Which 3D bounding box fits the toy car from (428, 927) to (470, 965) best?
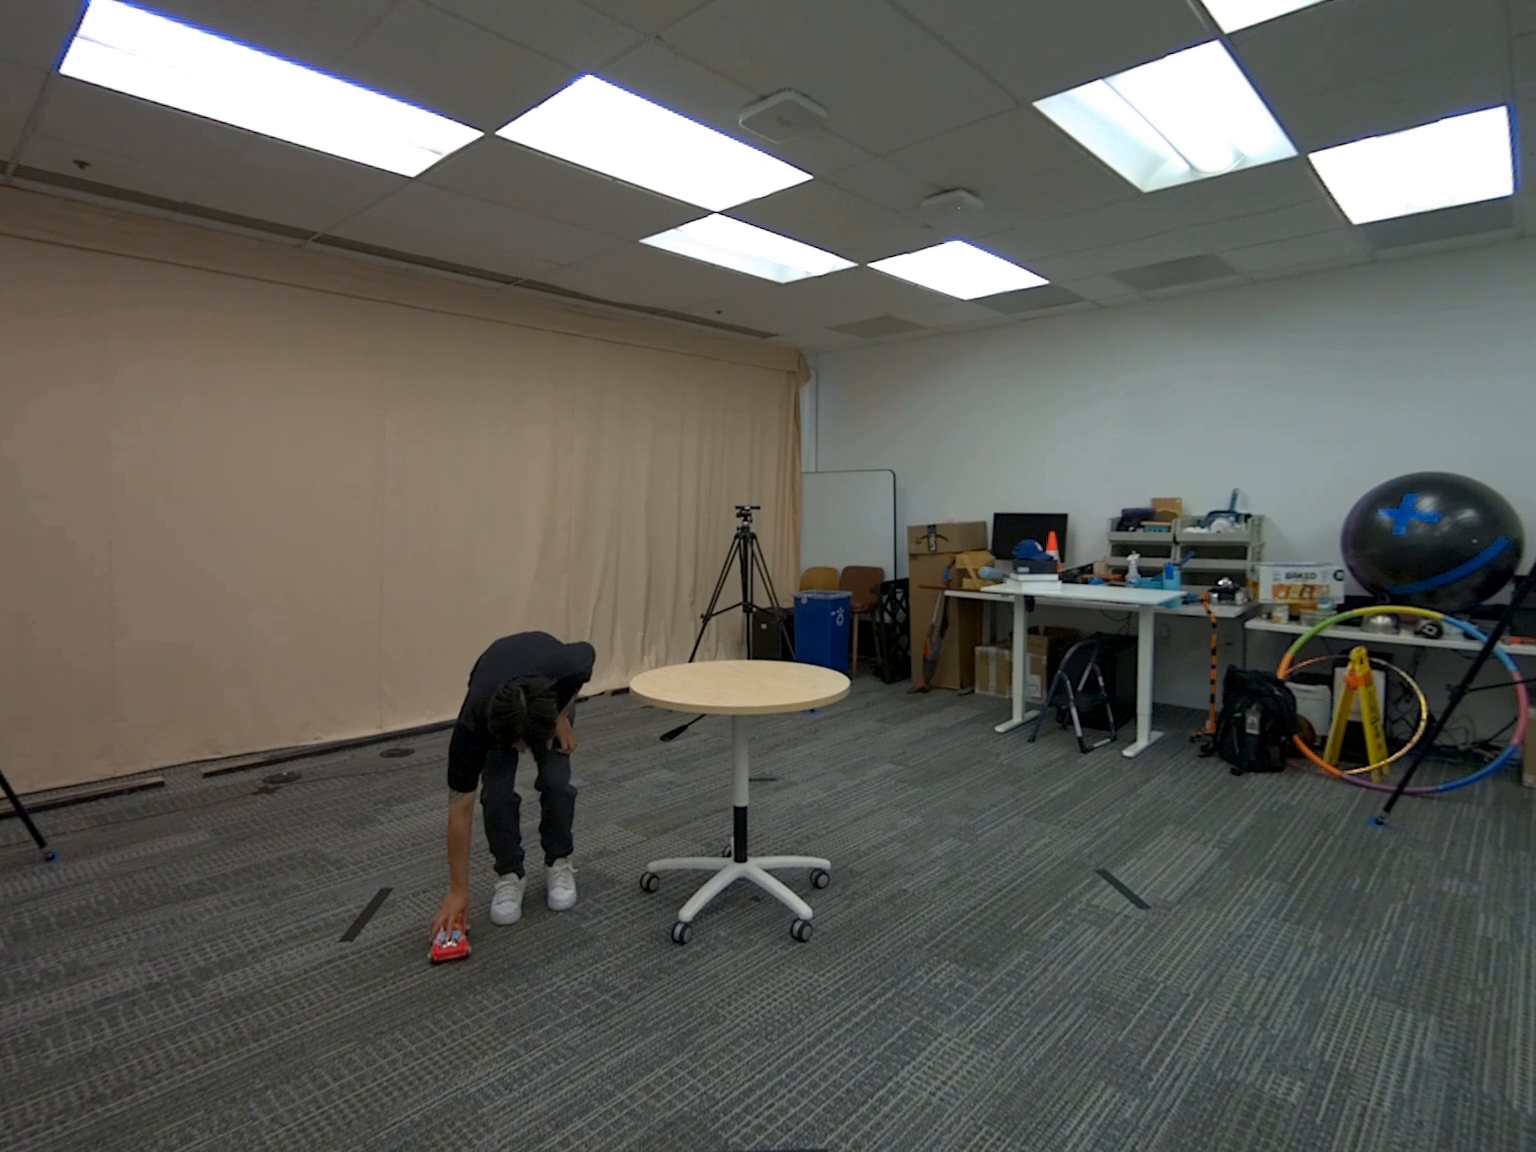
[{"bbox_3d":[-1.017,1.148,2.674,0.128,0.082,0.262,-2,14,-21],"label":"toy car"}]
